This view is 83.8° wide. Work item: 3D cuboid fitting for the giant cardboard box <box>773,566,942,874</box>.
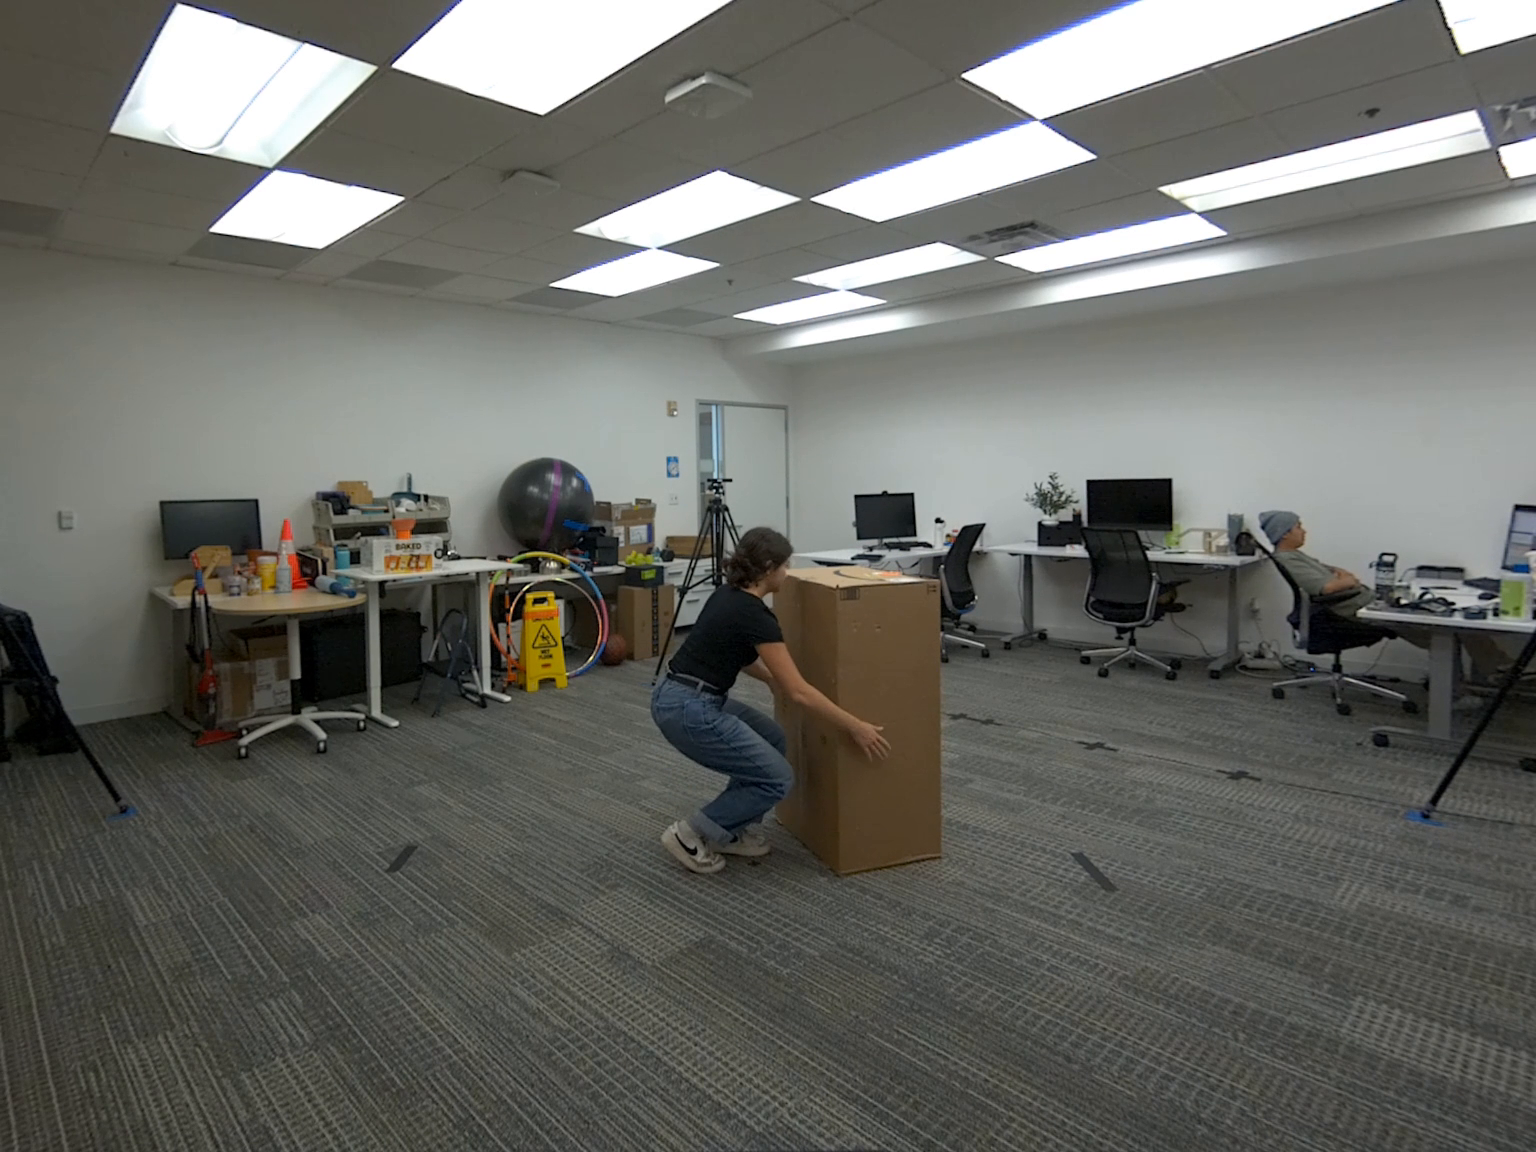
[{"bbox_3d":[0.330,0.506,3.305,0.418,1.022,0.590,-2,4,-22],"label":"giant cardboard box"}]
